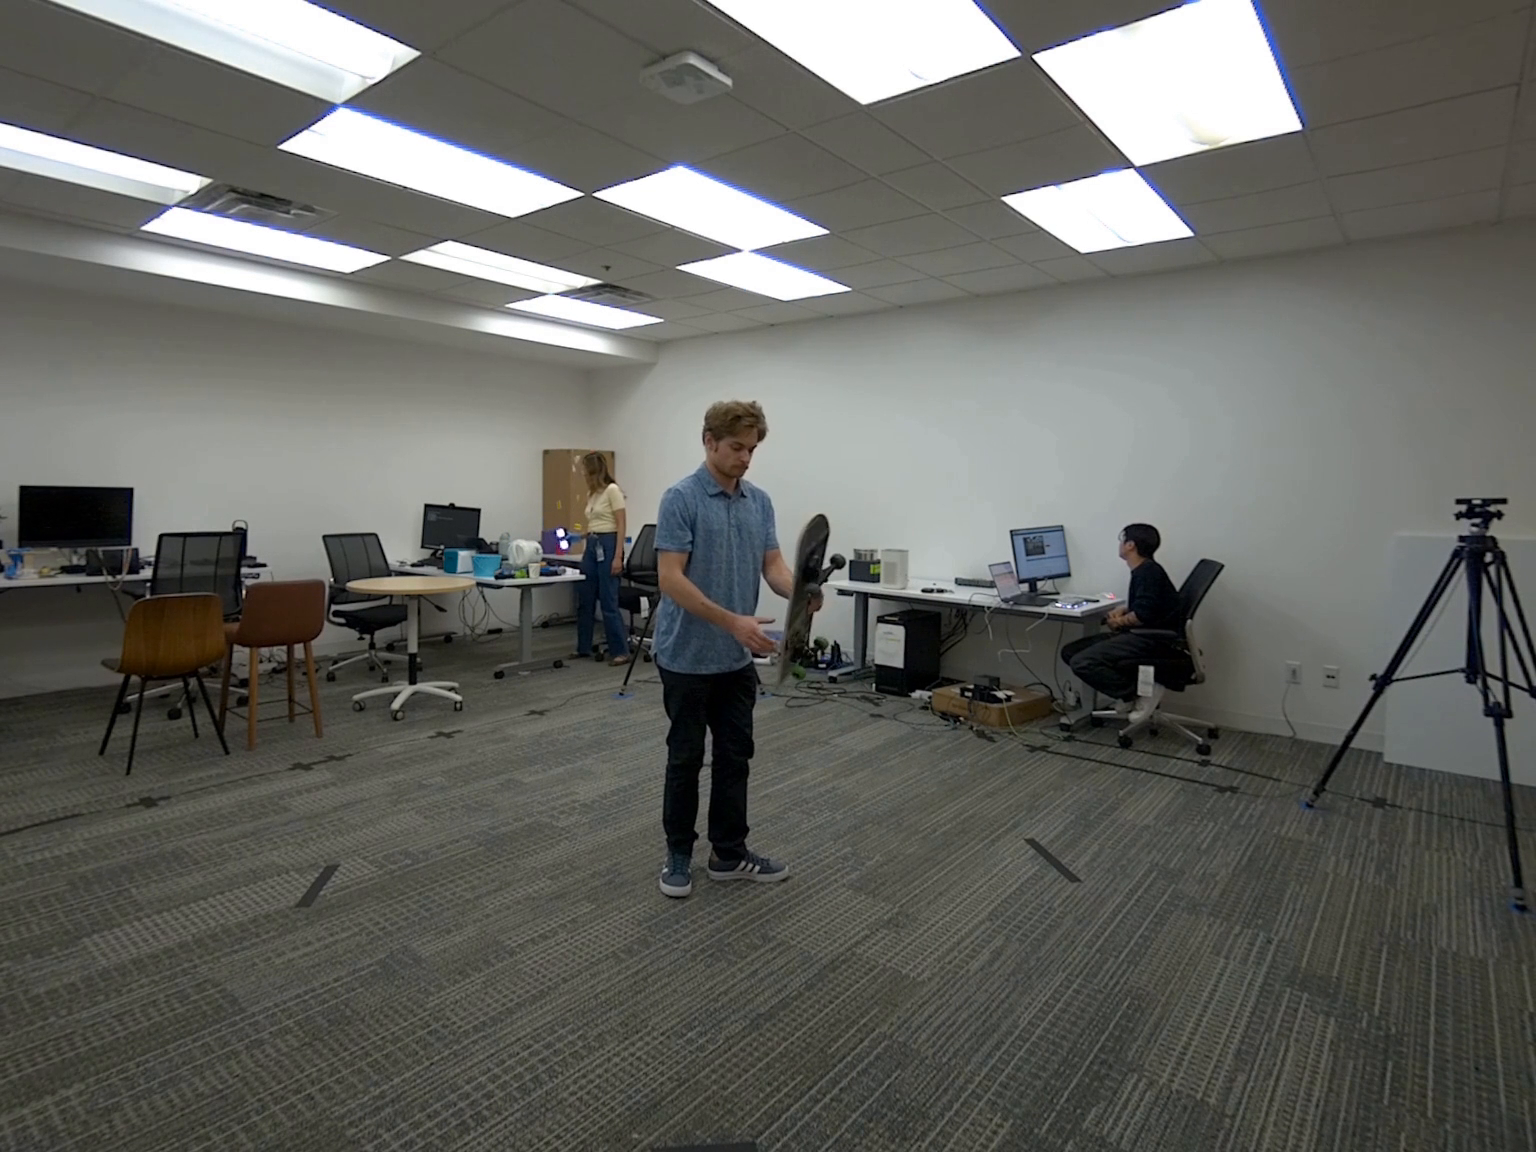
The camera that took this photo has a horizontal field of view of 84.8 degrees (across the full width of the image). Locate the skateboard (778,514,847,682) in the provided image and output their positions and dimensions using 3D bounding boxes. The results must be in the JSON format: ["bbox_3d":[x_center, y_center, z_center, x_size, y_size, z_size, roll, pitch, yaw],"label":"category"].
[{"bbox_3d":[0.119,0.122,2.719,0.113,0.765,0.193,27,48,19],"label":"skateboard"}]
